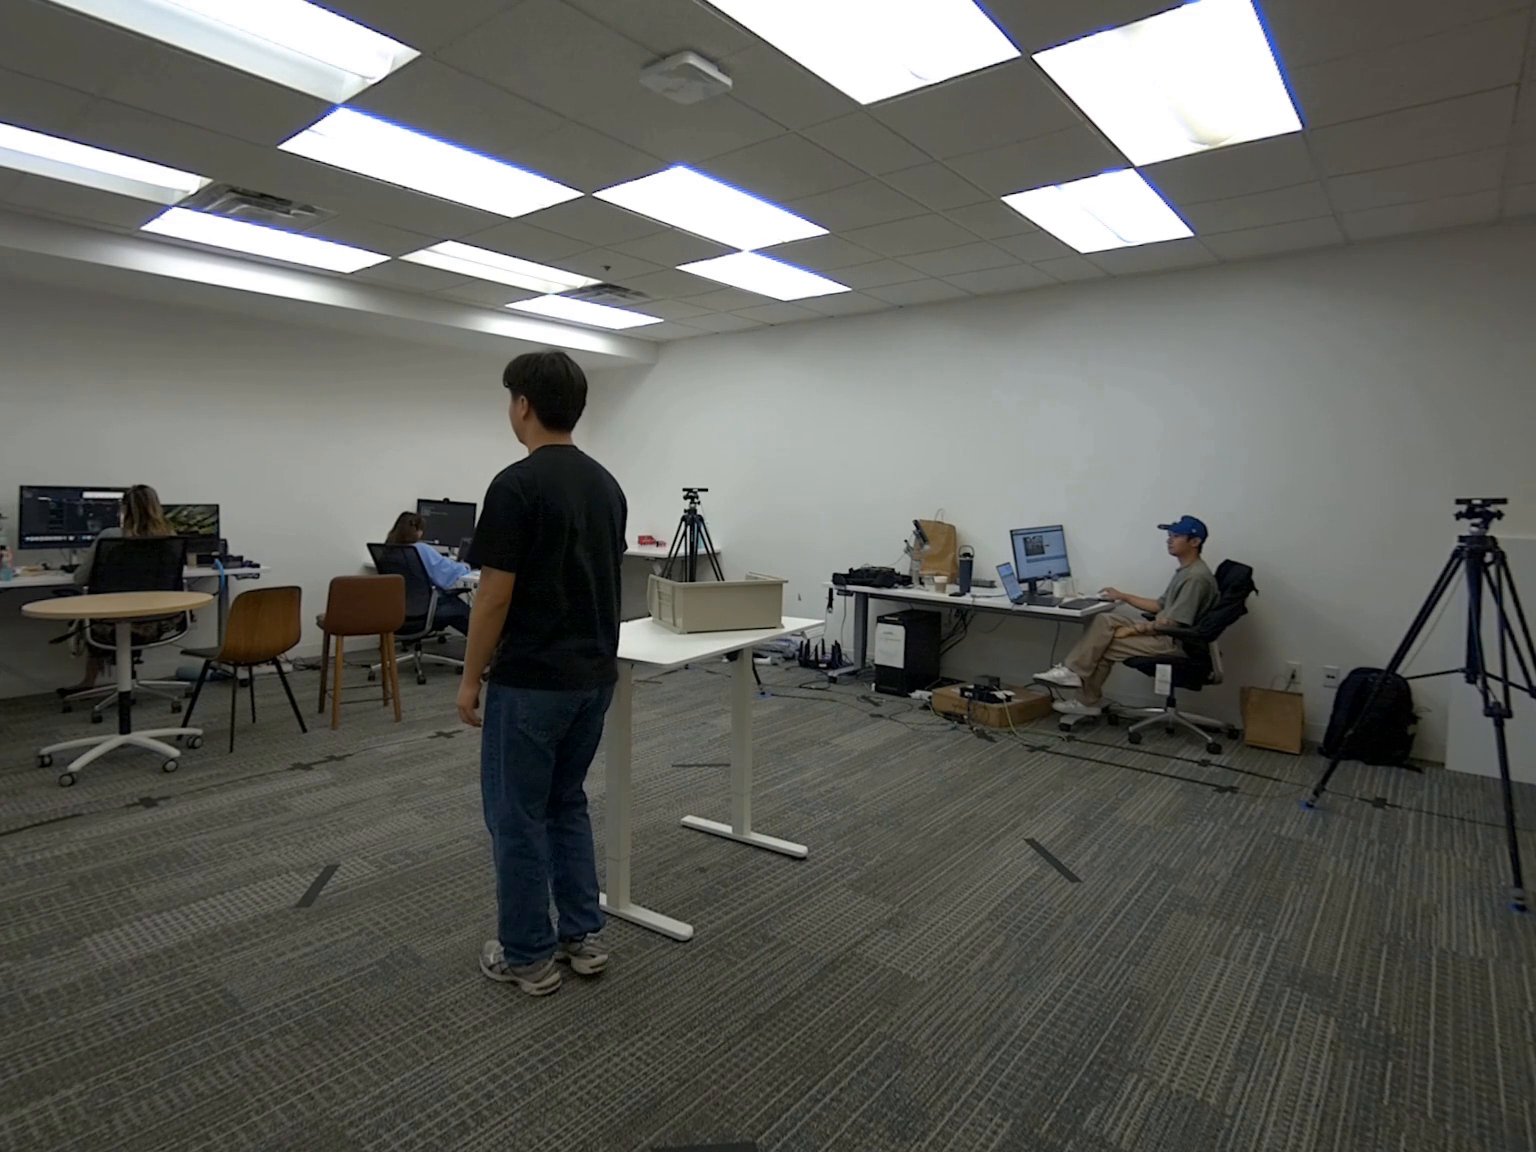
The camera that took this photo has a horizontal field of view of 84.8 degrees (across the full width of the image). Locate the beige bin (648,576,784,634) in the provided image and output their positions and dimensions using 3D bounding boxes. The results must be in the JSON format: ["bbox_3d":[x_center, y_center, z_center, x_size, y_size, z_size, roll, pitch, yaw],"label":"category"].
[{"bbox_3d":[-0.204,0.091,3.178,0.413,0.188,0.387,-2,6,-23],"label":"beige bin"}]
